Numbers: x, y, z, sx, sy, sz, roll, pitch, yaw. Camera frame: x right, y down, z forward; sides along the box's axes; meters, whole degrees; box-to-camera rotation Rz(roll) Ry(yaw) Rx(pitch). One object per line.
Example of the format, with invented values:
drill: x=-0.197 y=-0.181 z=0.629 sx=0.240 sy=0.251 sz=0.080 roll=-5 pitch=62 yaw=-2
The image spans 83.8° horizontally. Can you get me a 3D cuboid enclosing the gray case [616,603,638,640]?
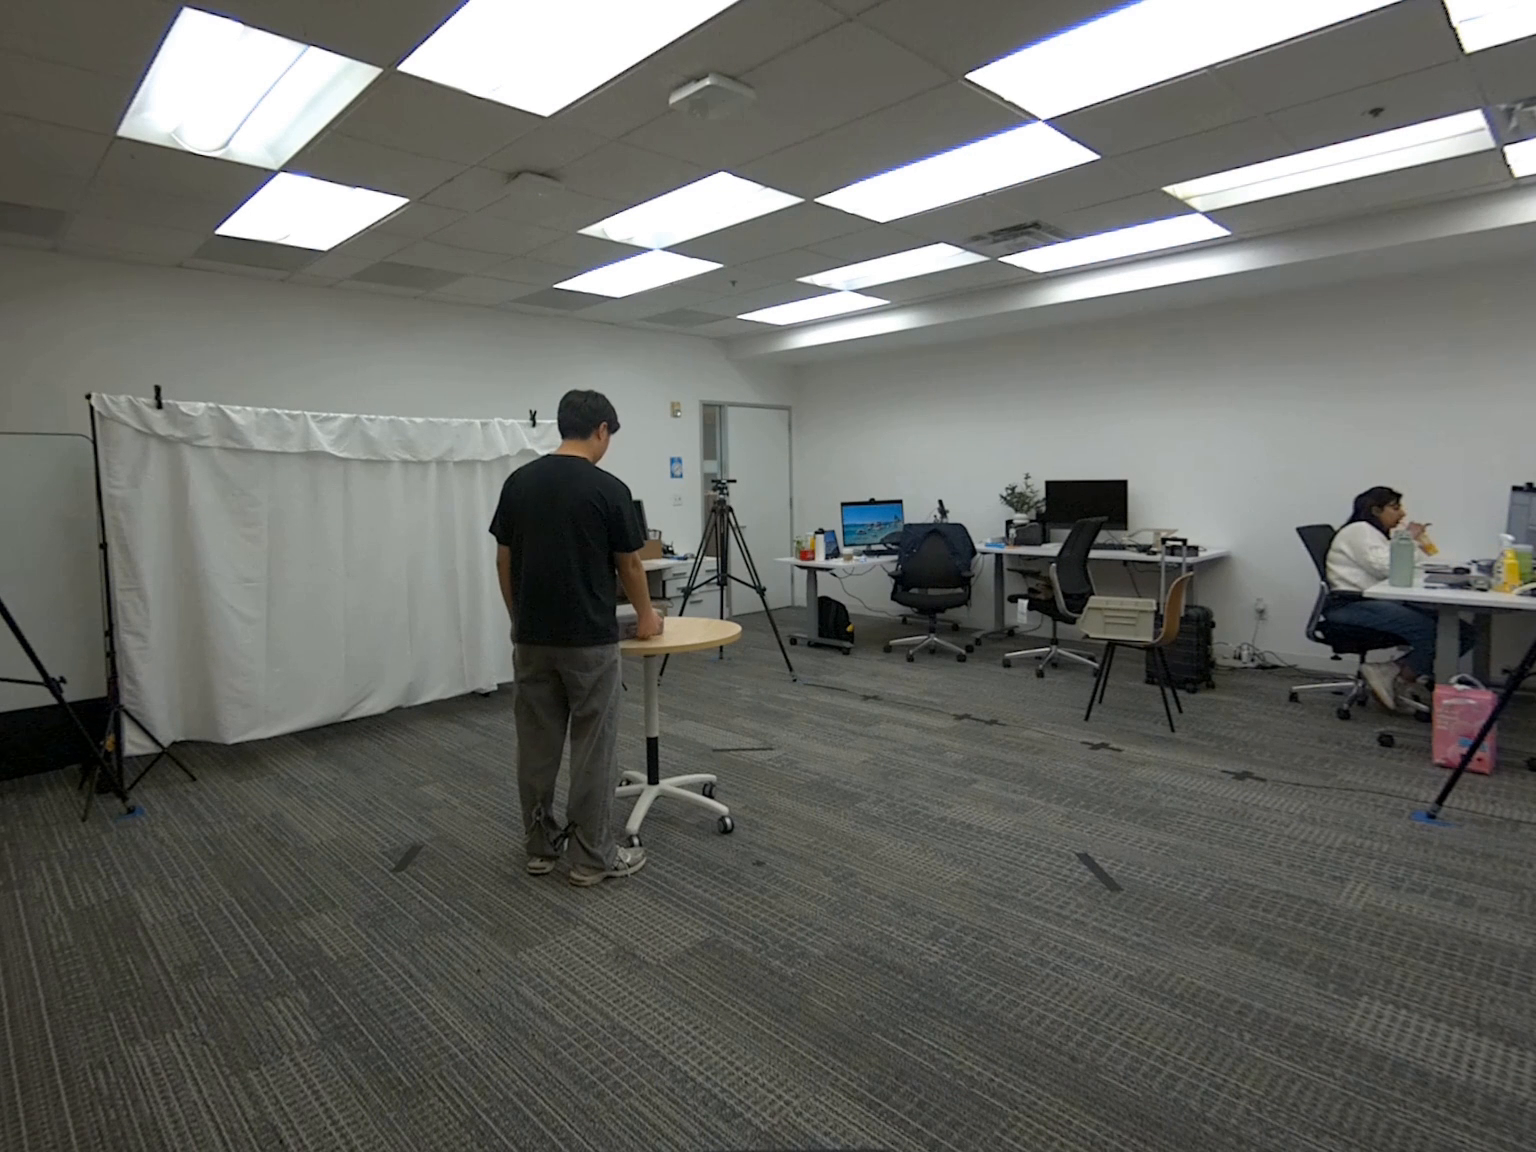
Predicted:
gray case: x=-0.568 y=0.185 z=3.444 sx=0.256 sy=0.102 sz=0.296 roll=-5 pitch=7 yaw=-37
